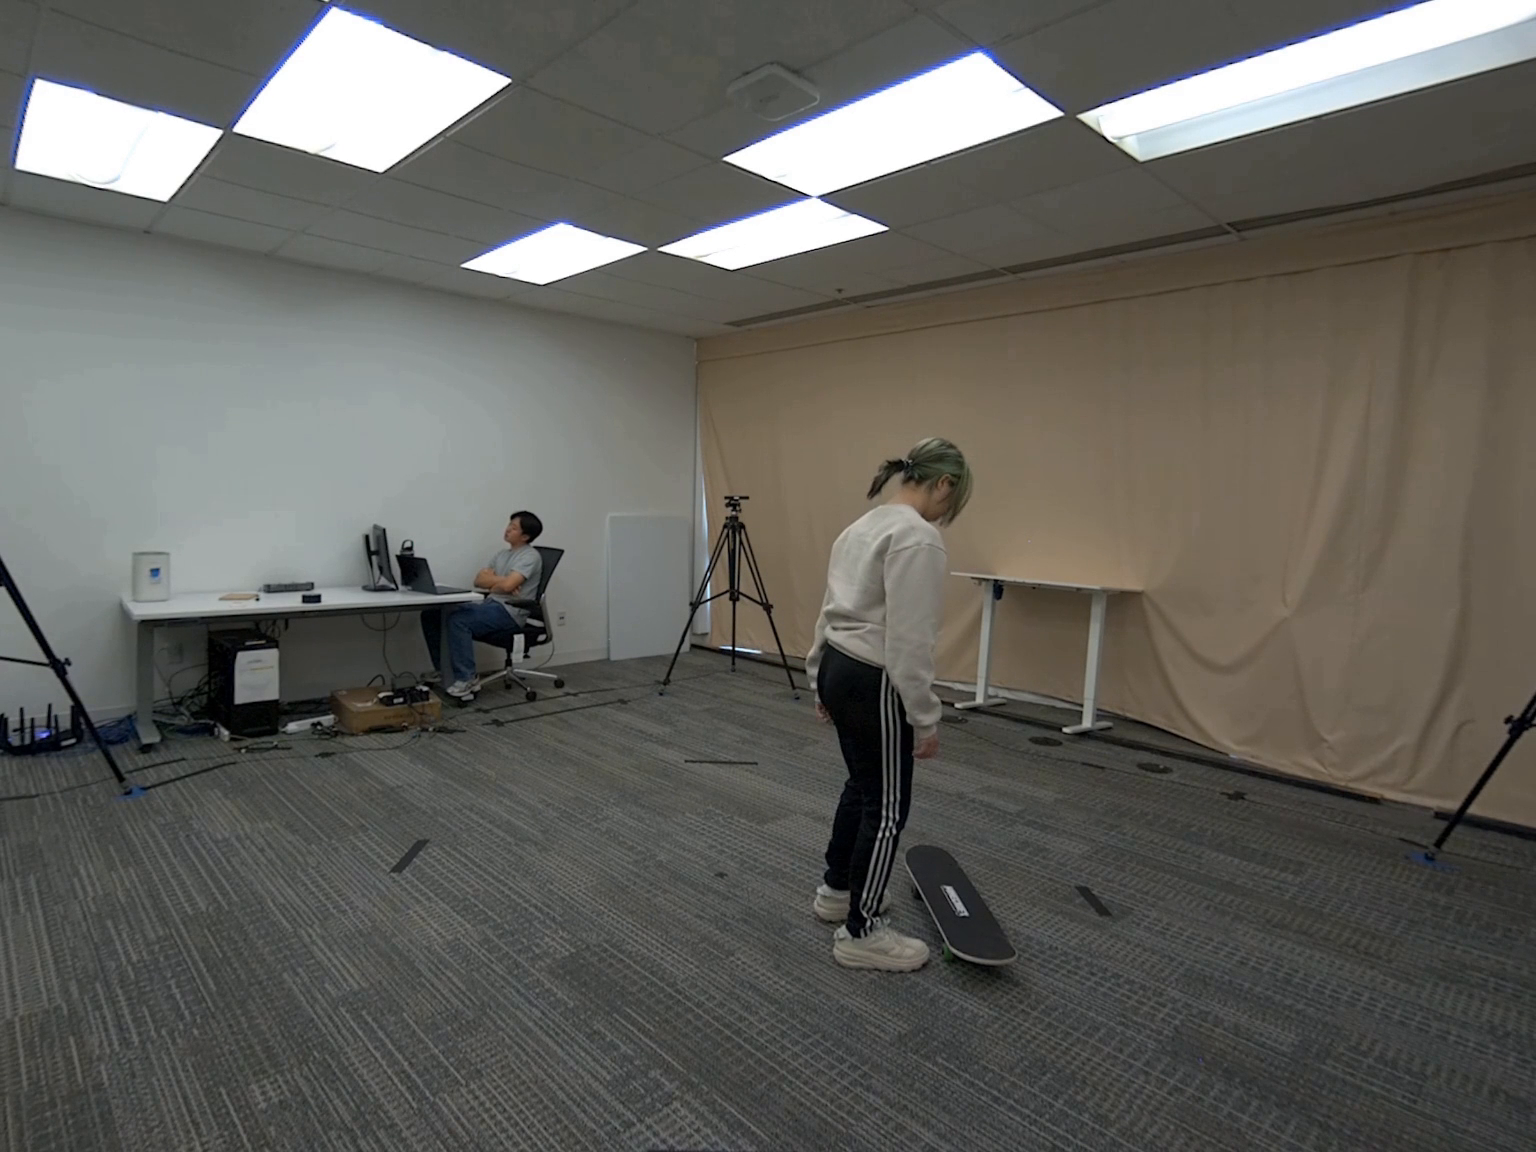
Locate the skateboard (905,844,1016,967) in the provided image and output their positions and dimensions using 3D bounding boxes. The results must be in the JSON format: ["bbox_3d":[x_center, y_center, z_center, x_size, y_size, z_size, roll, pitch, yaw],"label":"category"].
[{"bbox_3d":[0.603,1.094,2.771,0.193,0.110,0.790,3,6,-4],"label":"skateboard"}]
